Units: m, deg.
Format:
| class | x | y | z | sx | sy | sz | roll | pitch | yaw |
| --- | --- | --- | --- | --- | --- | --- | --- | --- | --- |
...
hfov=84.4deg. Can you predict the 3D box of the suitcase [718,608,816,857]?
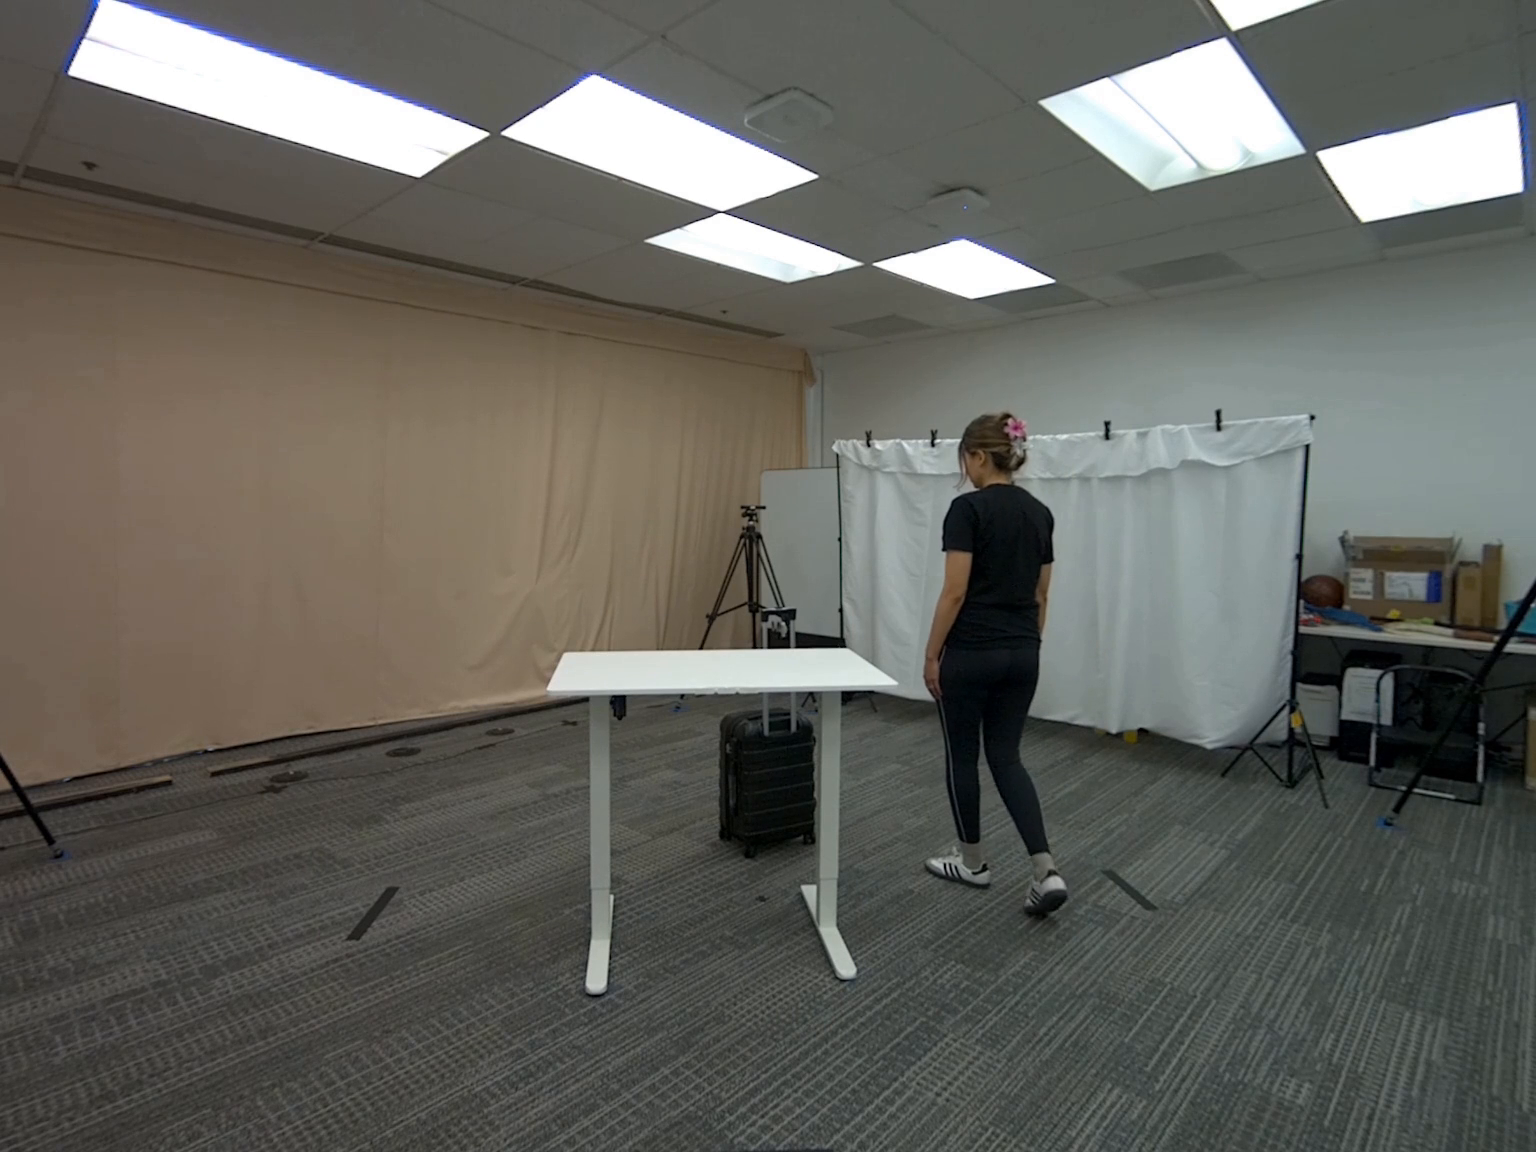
| class | x | y | z | sx | sy | sz | roll | pitch | yaw |
| --- | --- | --- | --- | --- | --- | --- | --- | --- | --- |
| suitcase | -0.010 | 0.623 | 3.465 | 0.375 | 0.977 | 0.263 | -2 | 2 | -24 |
